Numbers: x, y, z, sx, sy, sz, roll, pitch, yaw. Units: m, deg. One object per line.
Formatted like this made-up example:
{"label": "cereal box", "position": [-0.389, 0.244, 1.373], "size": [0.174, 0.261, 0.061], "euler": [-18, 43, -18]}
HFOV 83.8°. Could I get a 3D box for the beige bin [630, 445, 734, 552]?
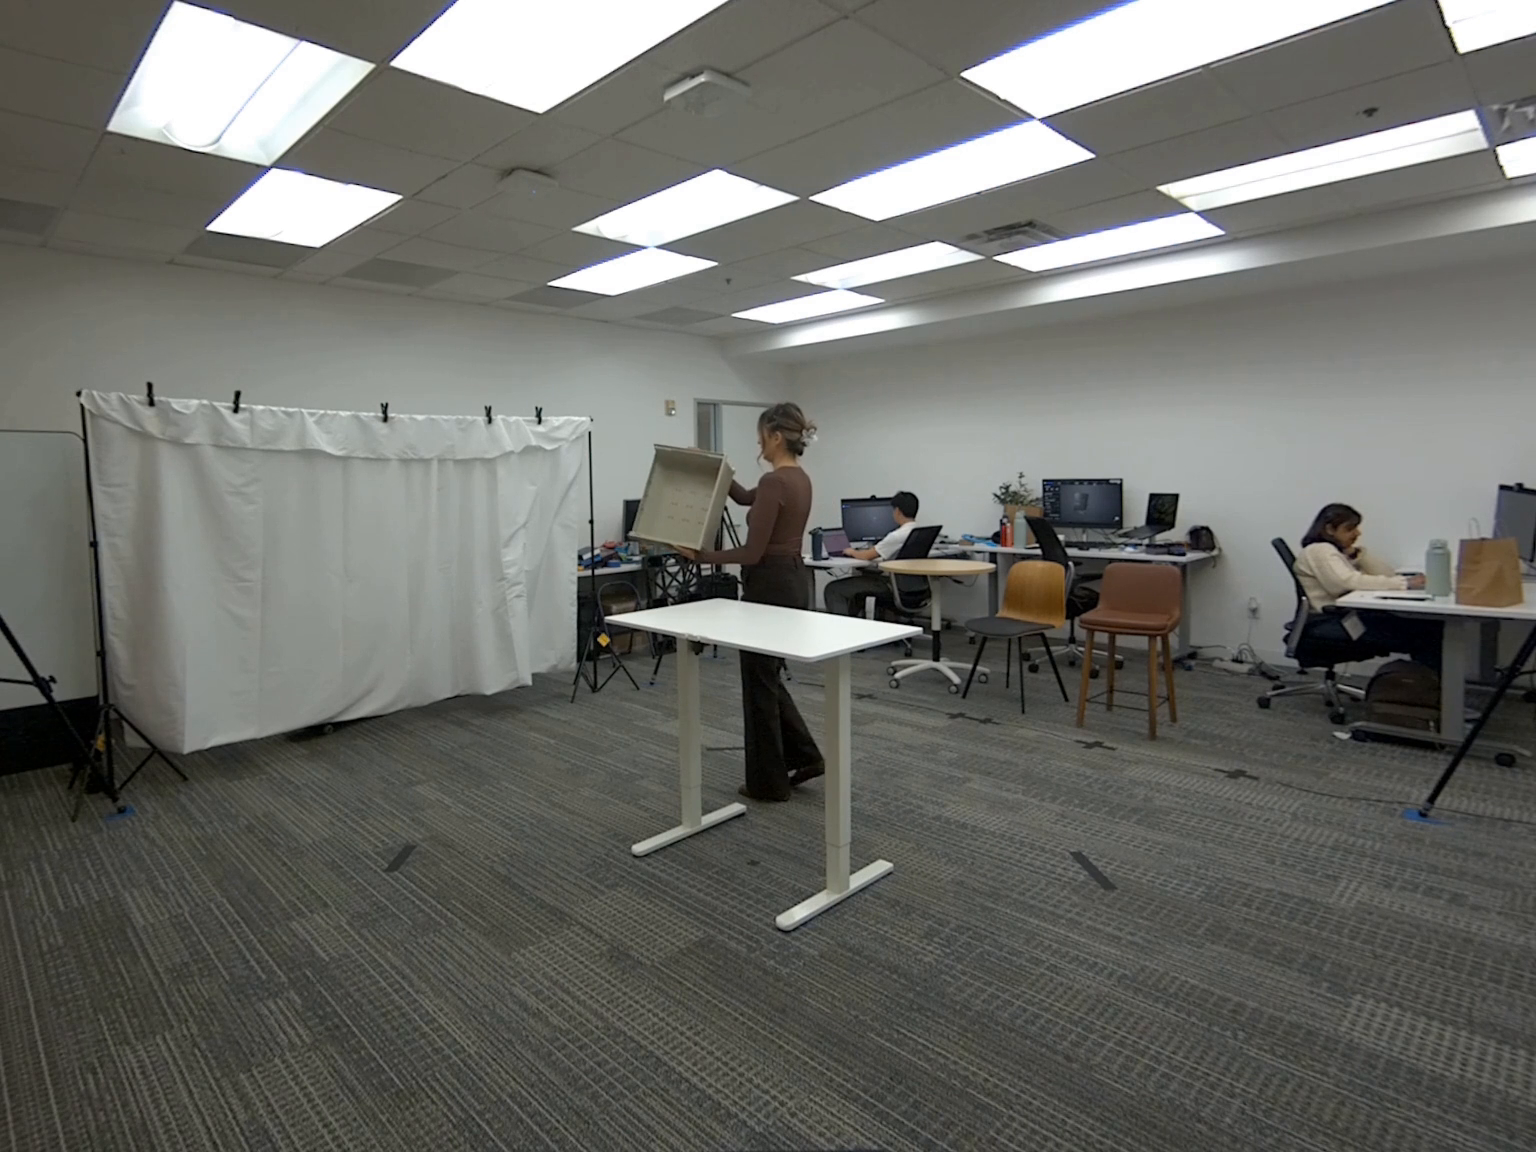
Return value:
{"label": "beige bin", "position": [-0.375, -0.328, 3.700], "size": [0.386, 0.425, 0.183], "euler": [12, -10, 20]}
